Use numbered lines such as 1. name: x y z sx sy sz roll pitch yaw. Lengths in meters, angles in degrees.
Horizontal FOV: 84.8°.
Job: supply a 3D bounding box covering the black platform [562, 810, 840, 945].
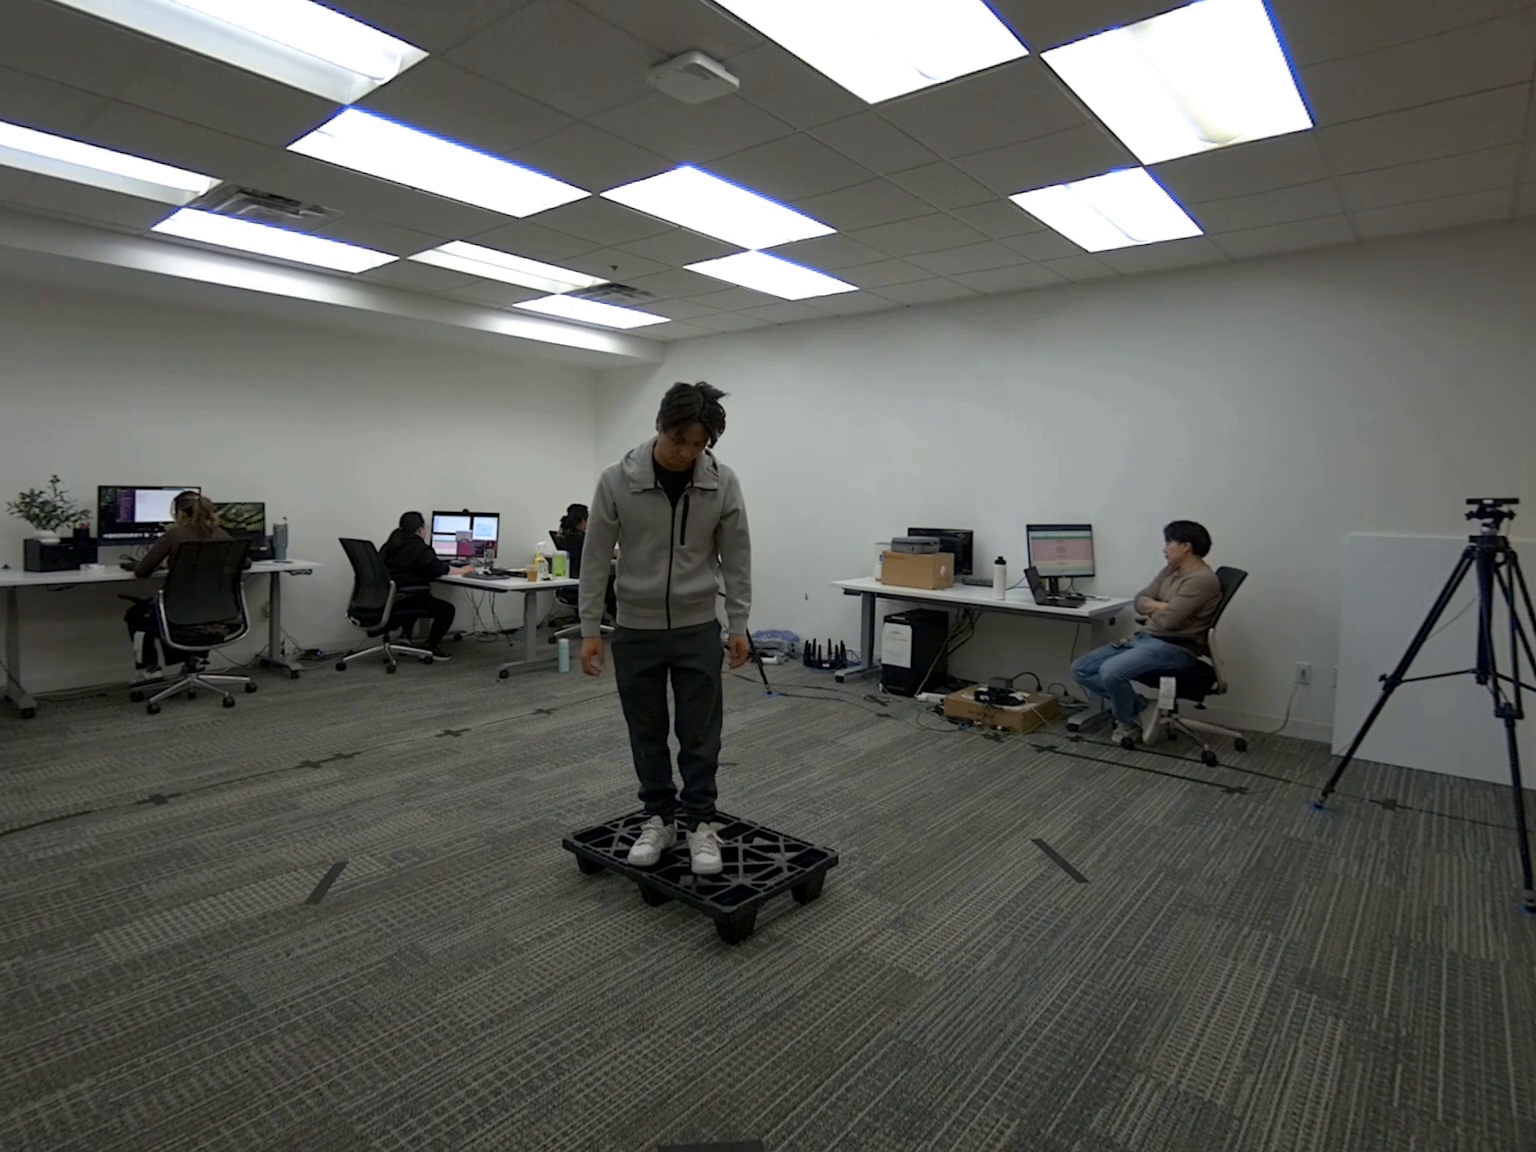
1. black platform: -0.257 1.009 2.998 0.833 0.143 0.587 6 7 40
